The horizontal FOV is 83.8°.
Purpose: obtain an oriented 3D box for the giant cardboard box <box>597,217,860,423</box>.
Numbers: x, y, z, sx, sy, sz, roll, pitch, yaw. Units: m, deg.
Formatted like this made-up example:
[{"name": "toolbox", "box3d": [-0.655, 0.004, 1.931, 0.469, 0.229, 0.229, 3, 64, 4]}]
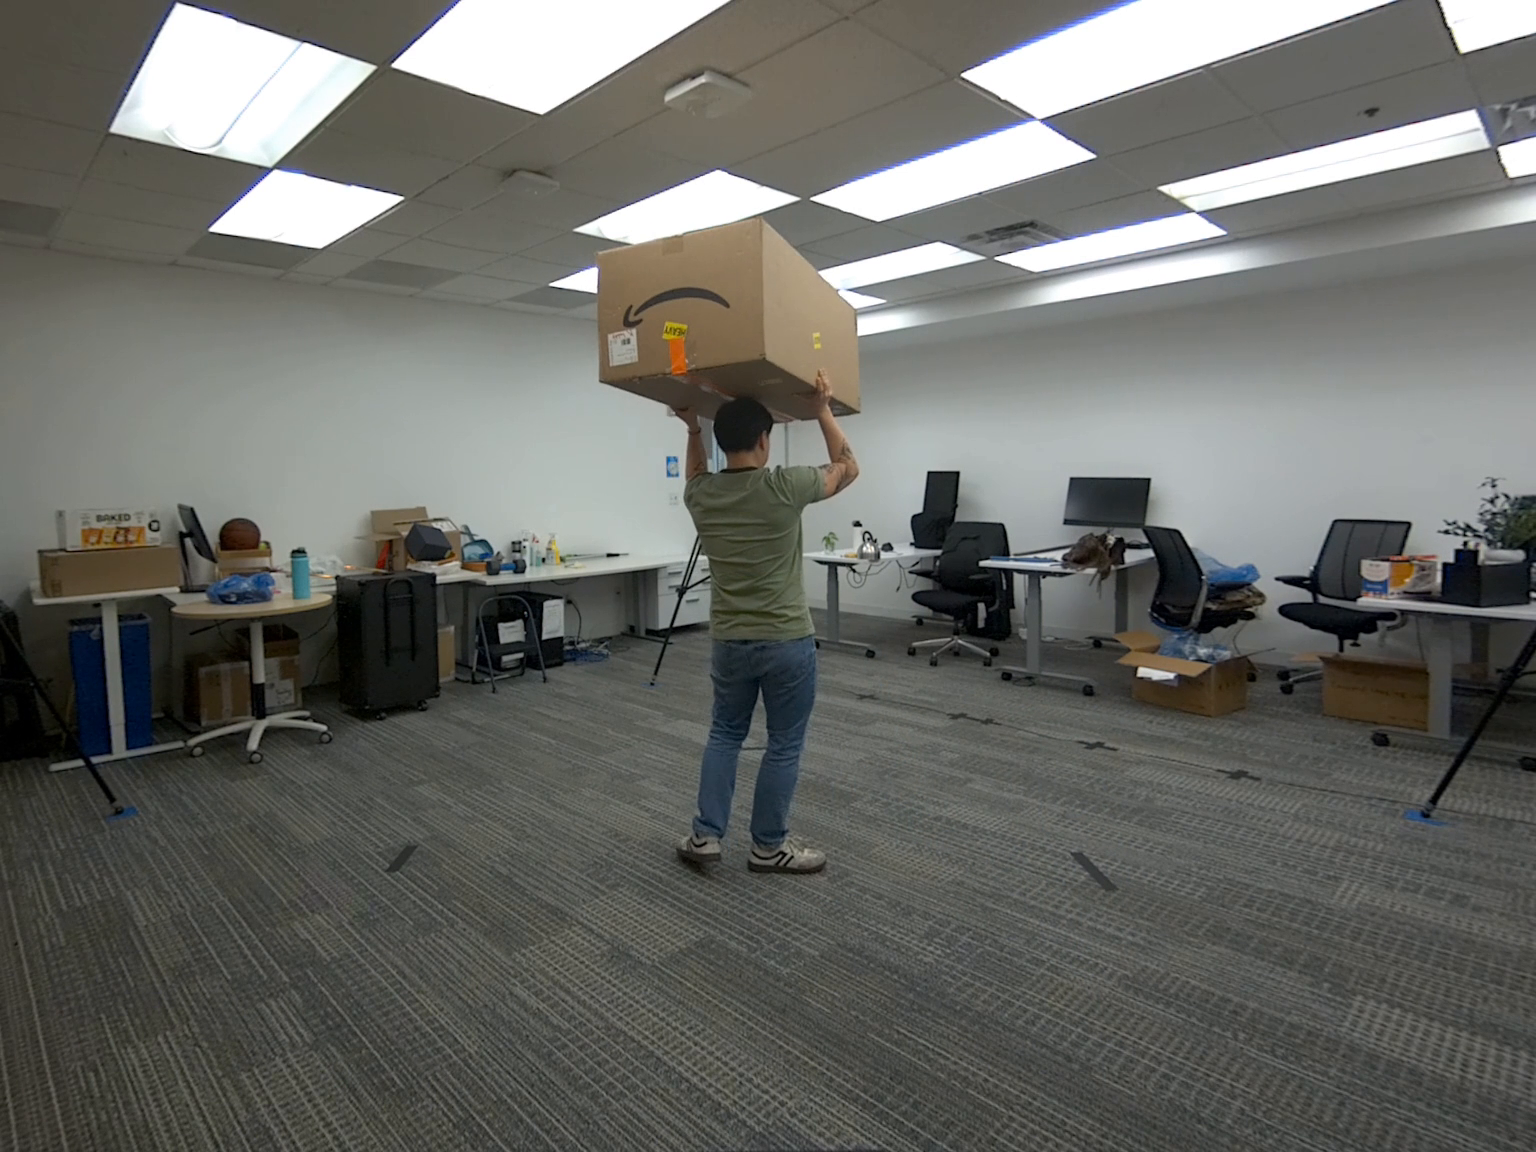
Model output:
[{"name": "giant cardboard box", "box3d": [-0.094, -0.835, 3.052, 0.589, 0.427, 1.003, -2, 0, 23]}]
